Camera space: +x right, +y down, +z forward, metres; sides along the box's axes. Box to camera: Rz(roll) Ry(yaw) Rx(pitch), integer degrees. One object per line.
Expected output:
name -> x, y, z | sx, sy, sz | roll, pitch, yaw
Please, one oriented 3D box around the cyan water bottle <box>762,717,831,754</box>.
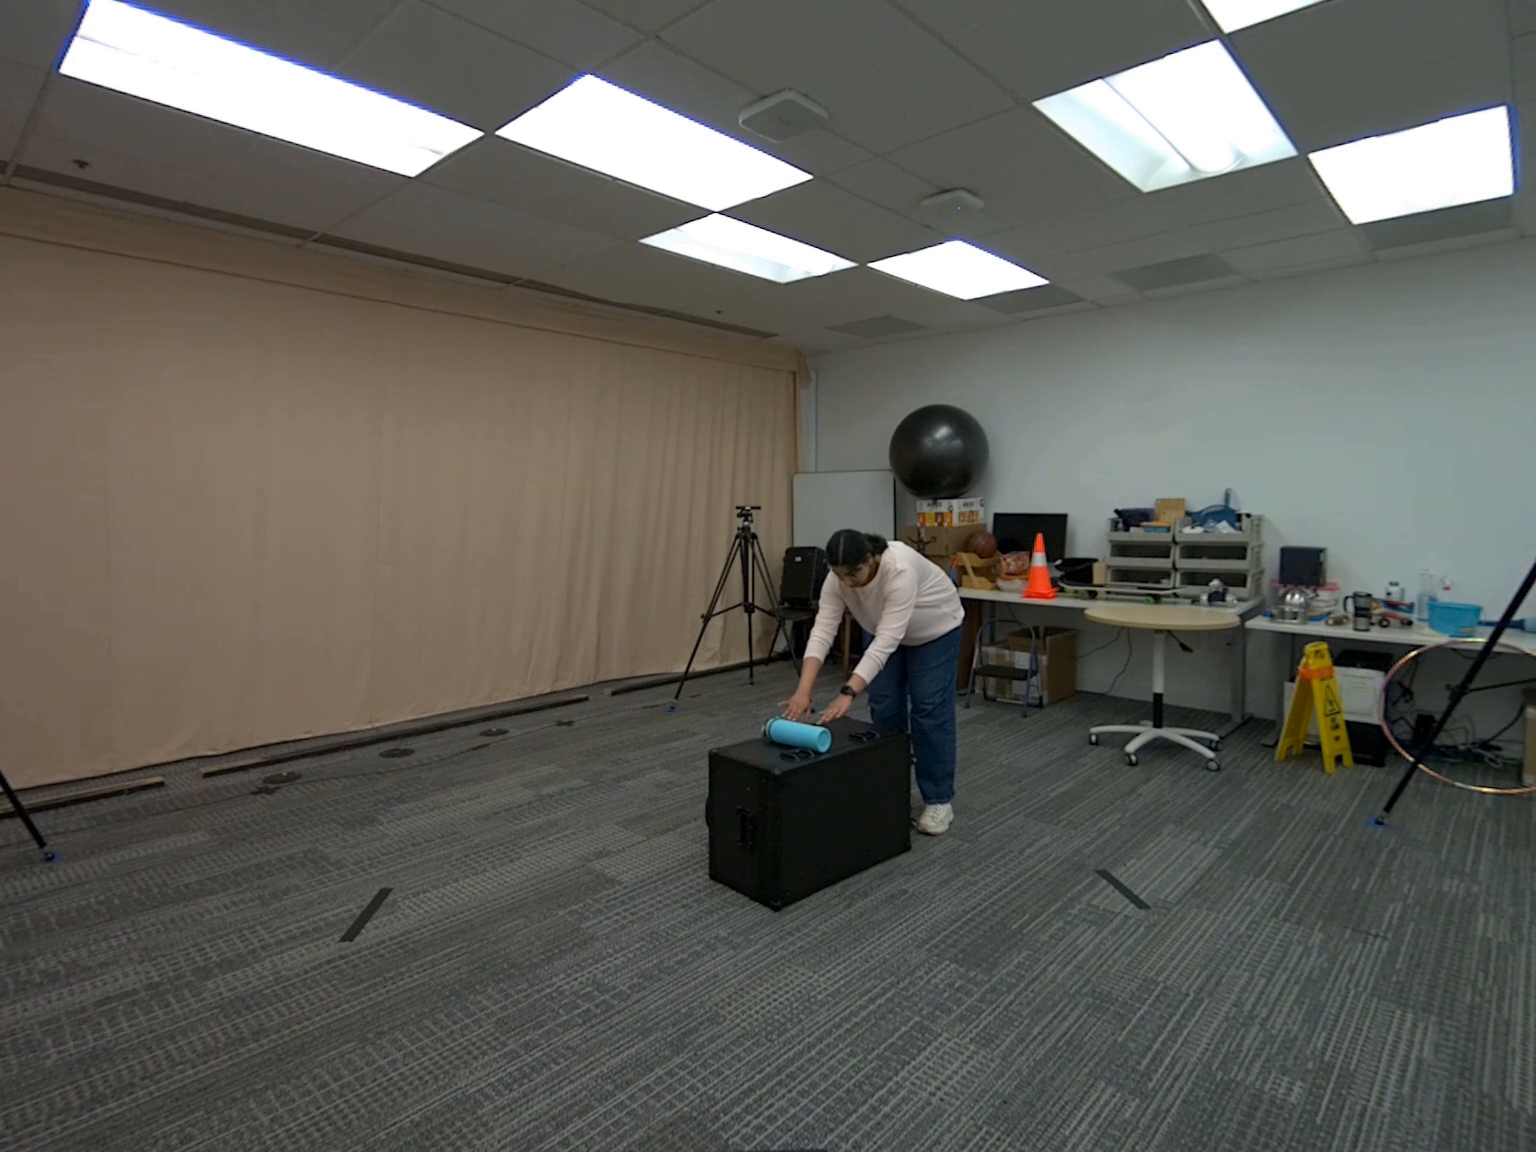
cyan water bottle -> 0.106, 0.593, 3.192 | 0.293, 0.092, 0.089 | 3, 5, 42
